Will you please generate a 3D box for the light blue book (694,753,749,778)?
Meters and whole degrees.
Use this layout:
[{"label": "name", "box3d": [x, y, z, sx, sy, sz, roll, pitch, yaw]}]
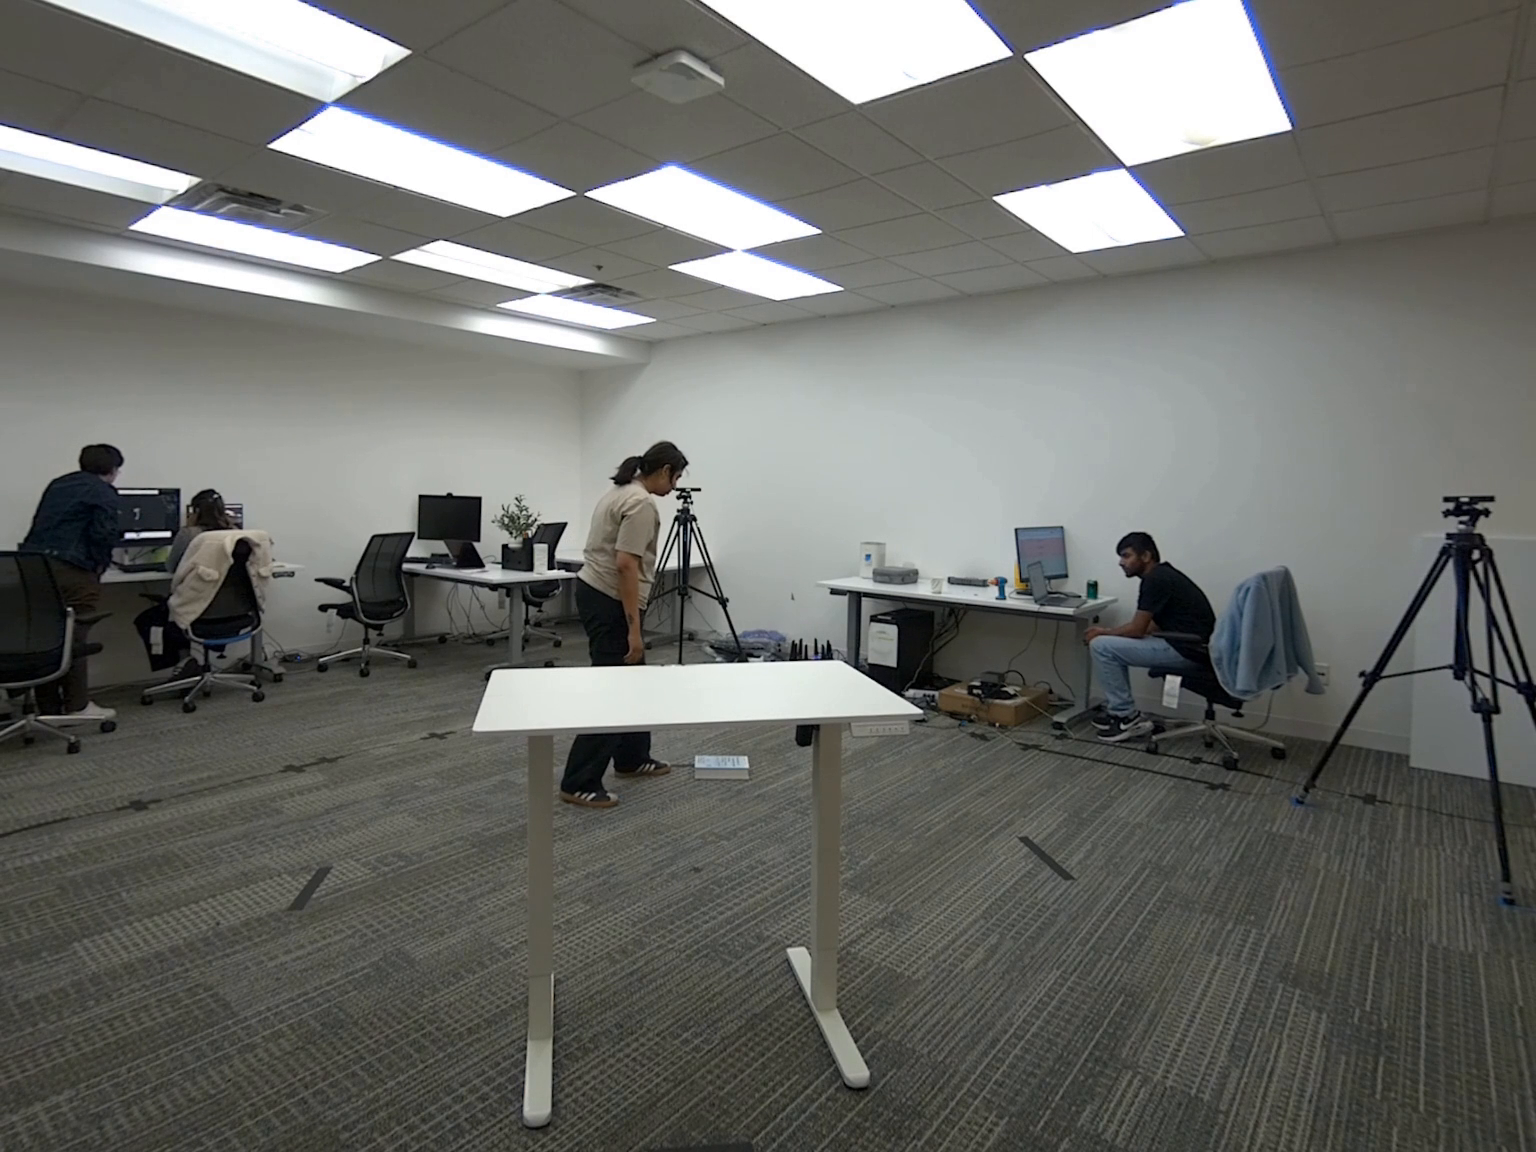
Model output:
[{"label": "light blue book", "box3d": [-0.235, 0.934, 4.162, 0.260, 0.059, 0.192, 0, 6, -2]}]
